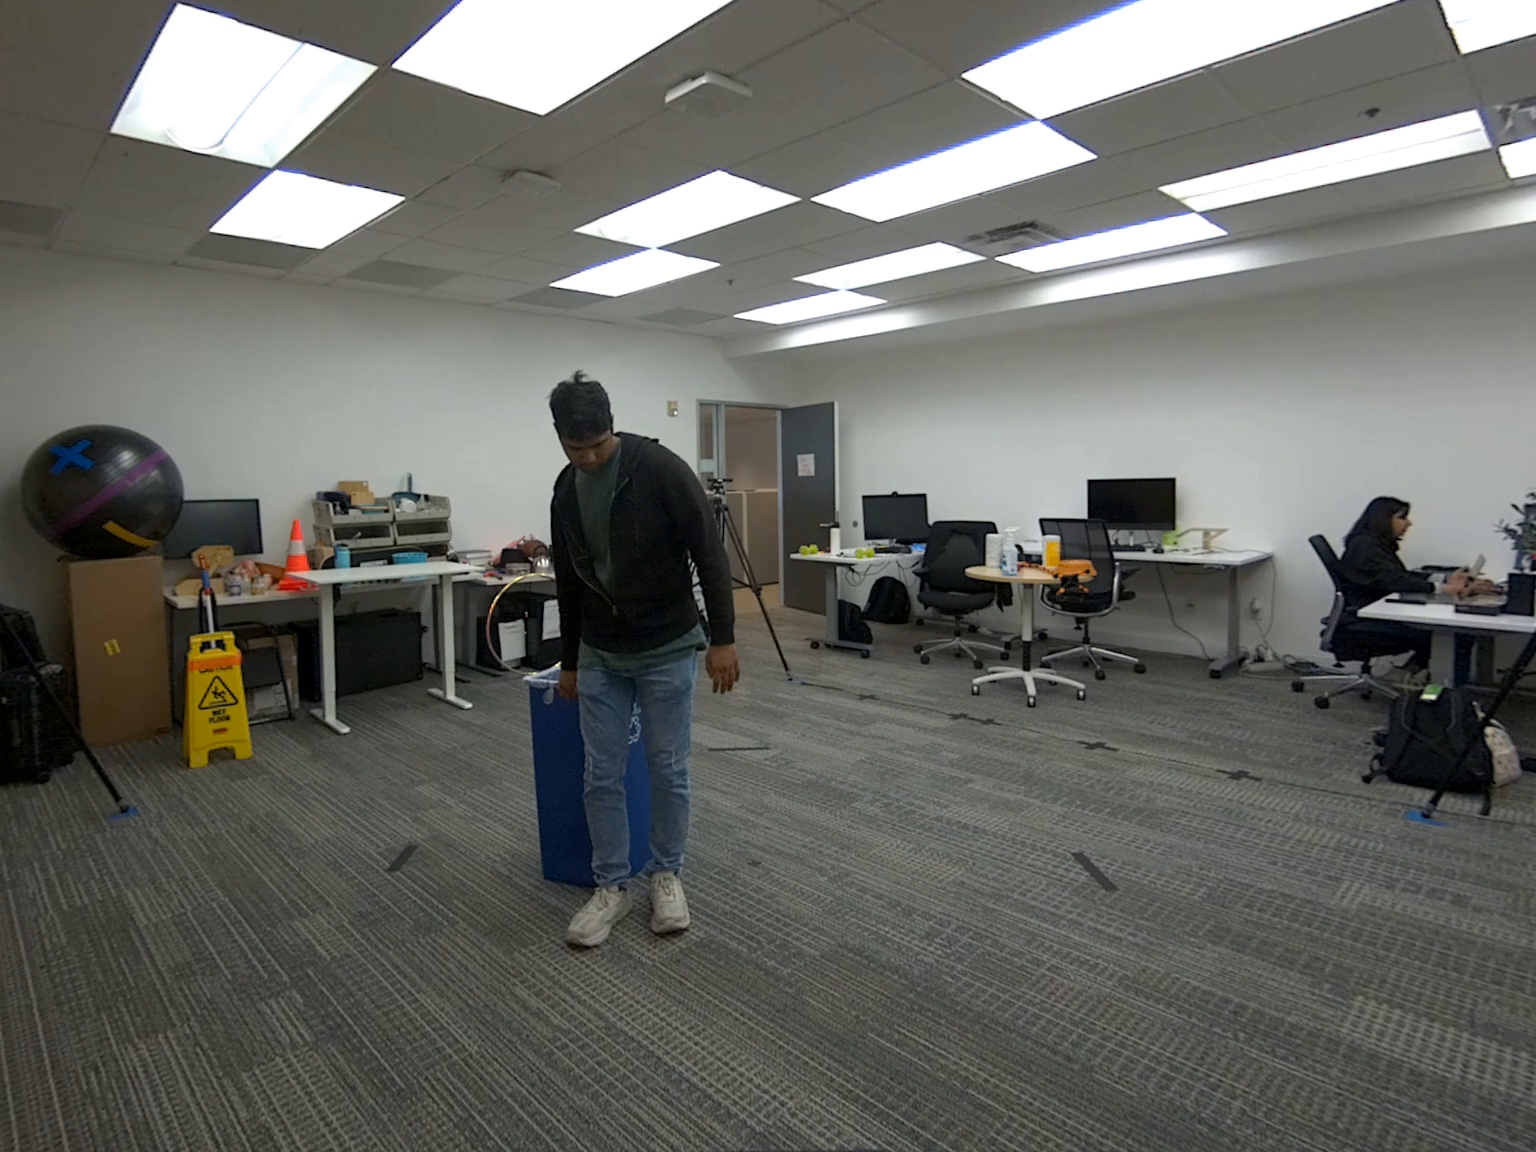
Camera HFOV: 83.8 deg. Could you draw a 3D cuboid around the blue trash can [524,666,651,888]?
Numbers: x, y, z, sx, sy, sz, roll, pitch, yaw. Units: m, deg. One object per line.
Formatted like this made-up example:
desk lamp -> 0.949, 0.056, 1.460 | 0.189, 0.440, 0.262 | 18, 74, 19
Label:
blue trash can -> -0.610, 0.696, 3.078 | 0.382, 0.712, 0.371 | -1, 3, 24
